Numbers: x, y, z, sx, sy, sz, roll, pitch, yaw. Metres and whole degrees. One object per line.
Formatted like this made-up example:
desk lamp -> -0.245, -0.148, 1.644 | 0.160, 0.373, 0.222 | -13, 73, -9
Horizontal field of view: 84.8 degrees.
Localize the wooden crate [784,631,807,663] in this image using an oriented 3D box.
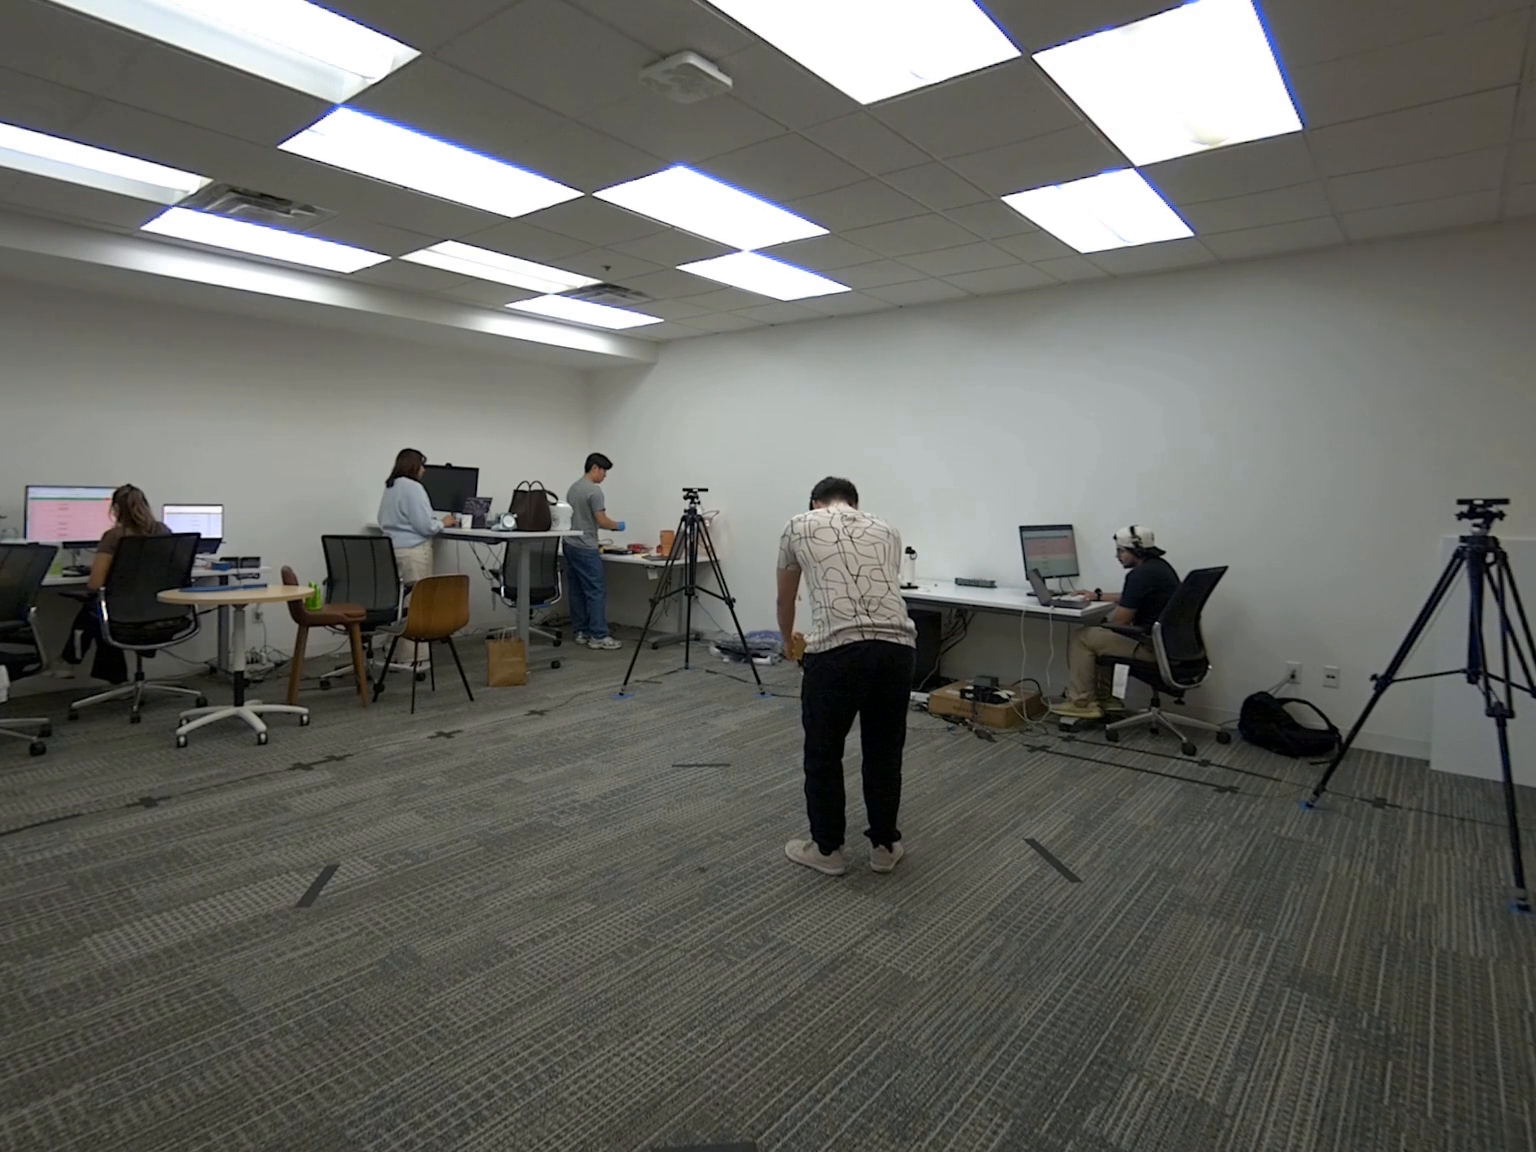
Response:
wooden crate -> 0.248, 0.382, 3.557 | 0.302, 0.274, 0.323 | 5, -3, 0
